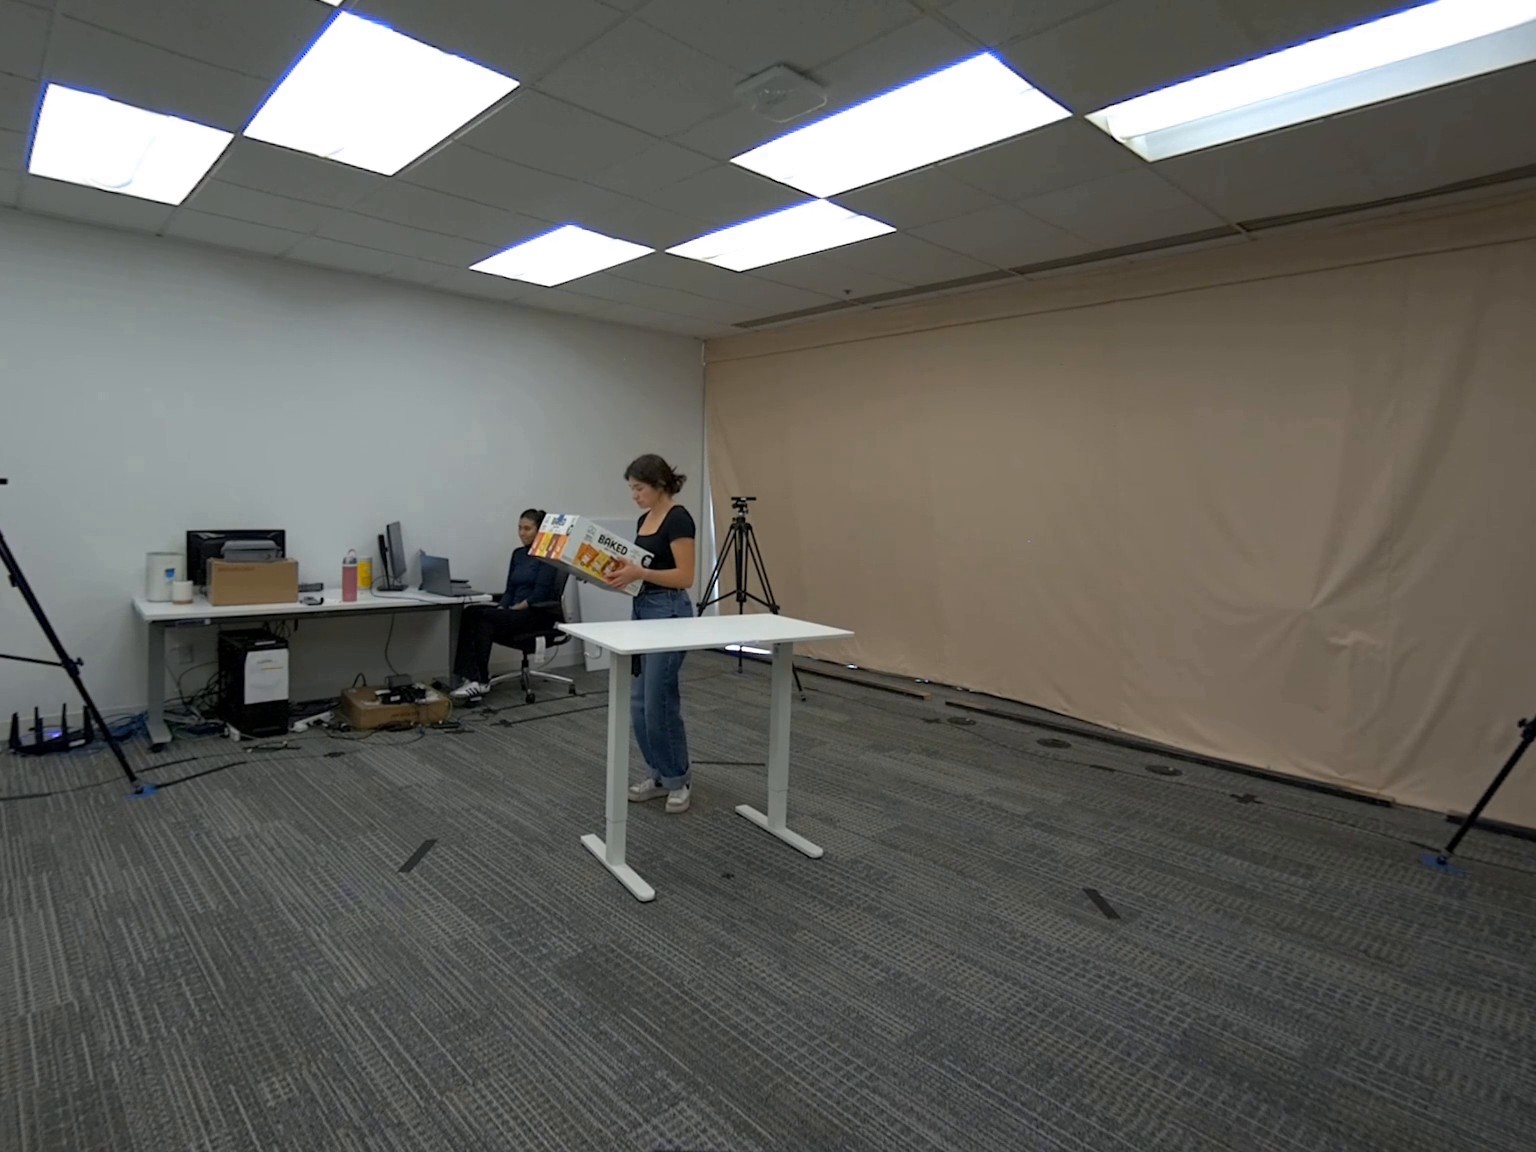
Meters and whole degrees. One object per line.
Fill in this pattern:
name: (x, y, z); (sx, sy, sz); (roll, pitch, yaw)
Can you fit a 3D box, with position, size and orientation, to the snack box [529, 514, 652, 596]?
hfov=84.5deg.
snack box: (-0.789, -0.094, 3.707); (0.393, 0.206, 0.349); (30, -13, -35)
